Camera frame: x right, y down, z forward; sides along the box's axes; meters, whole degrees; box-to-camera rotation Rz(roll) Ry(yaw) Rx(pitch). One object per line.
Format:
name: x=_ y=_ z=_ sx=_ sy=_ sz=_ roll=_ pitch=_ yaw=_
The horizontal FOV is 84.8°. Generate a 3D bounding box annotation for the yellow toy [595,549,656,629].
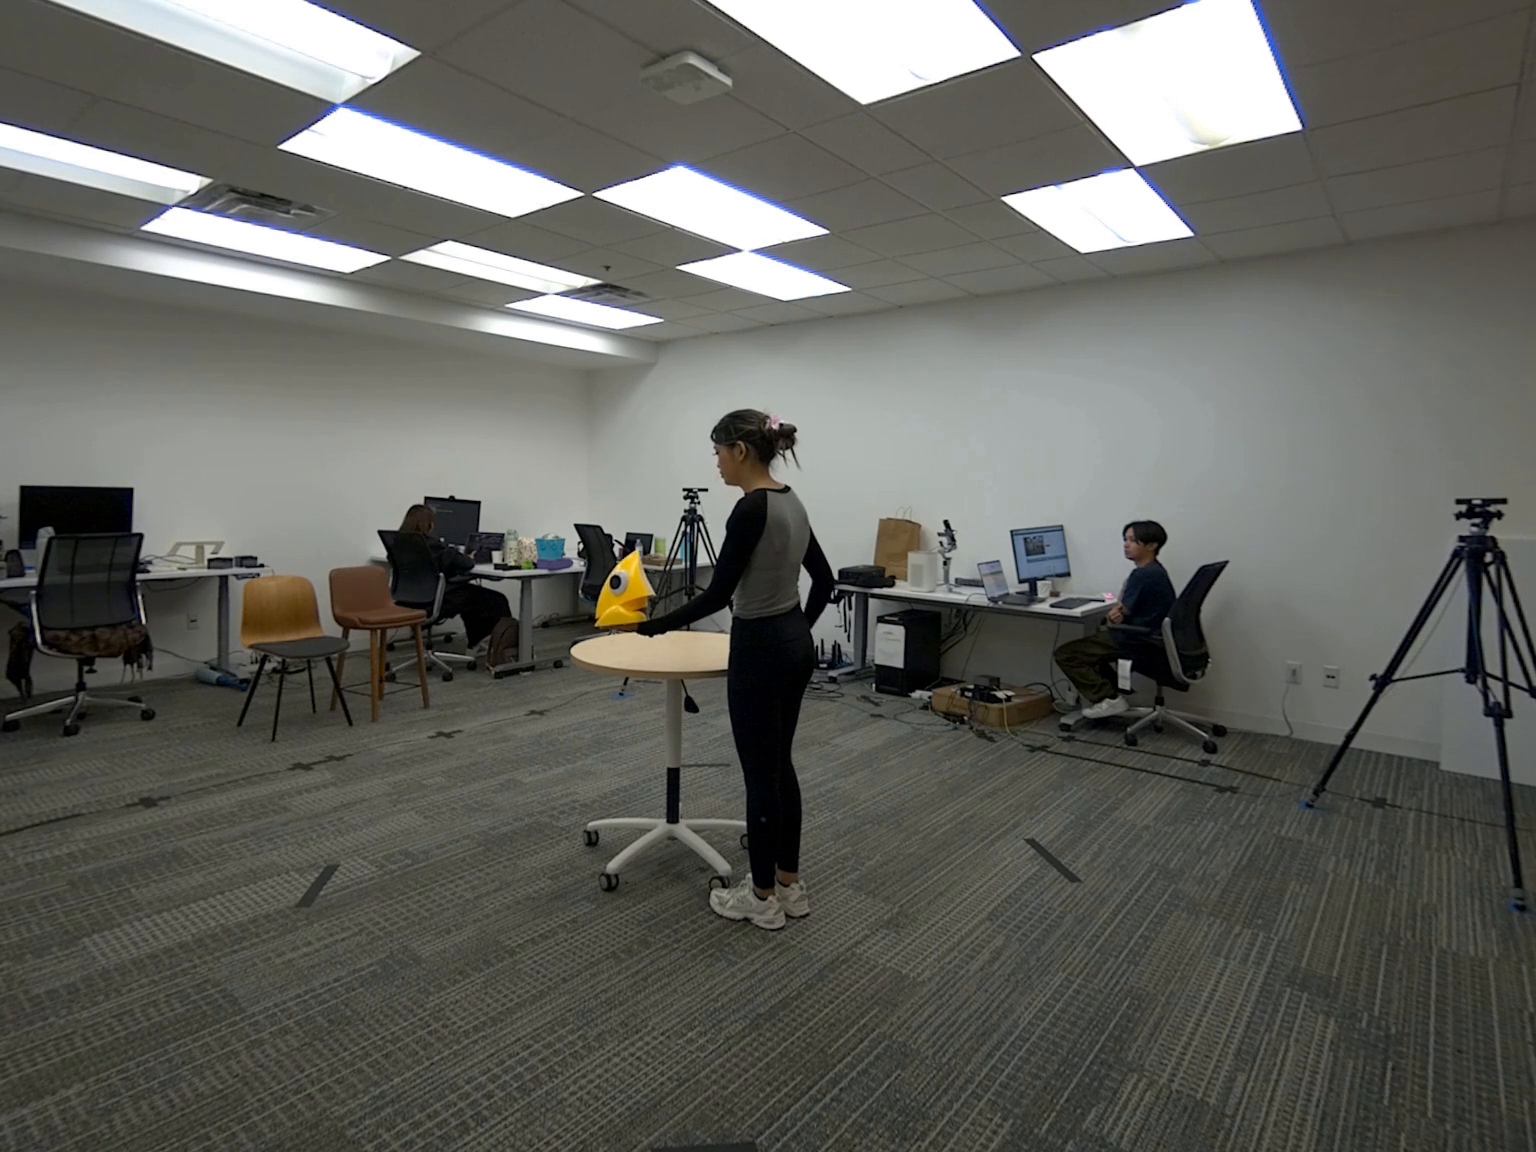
yellow toy: x=-0.473 y=0.030 z=2.719 sx=0.193 sy=0.232 sz=0.204 roll=-6 pitch=-3 yaw=1
